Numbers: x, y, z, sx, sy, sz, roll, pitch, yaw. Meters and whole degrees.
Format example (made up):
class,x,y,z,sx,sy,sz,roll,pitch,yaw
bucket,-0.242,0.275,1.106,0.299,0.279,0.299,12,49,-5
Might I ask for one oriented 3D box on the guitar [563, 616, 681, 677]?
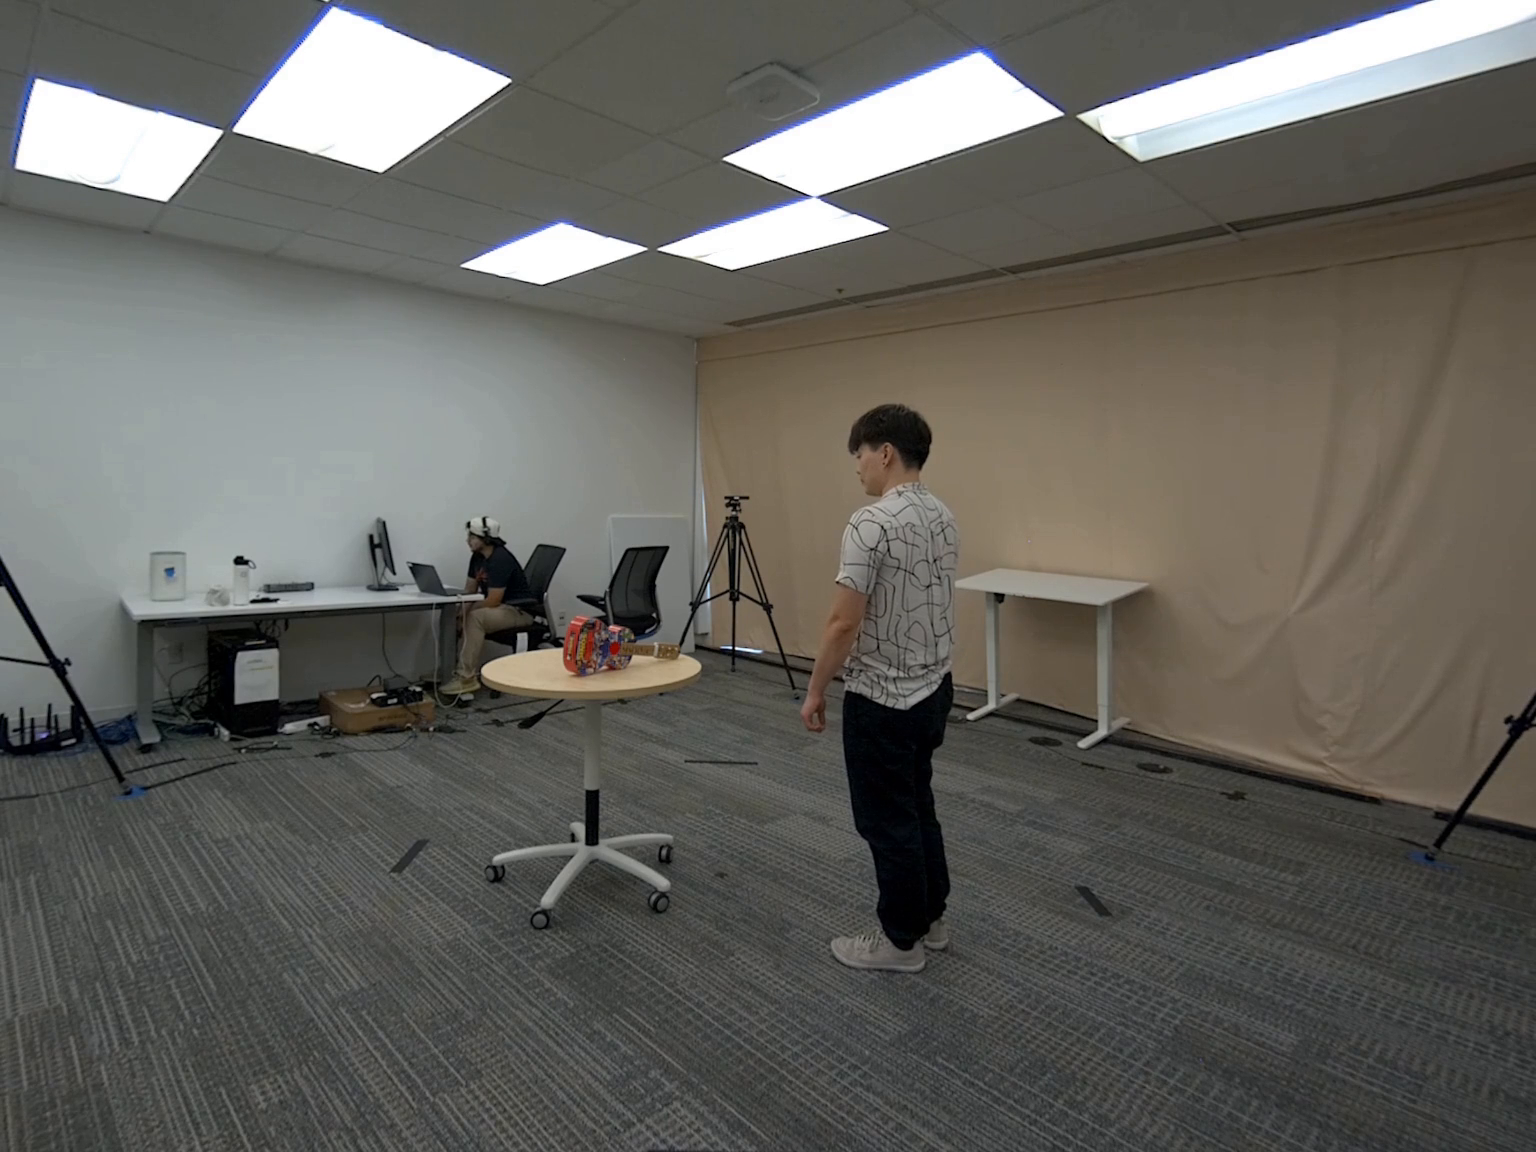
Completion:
class,x,y,z,sx,sy,sz,roll,pitch,yaw
guitar,-0.516,0.284,2.960,0.072,0.194,0.483,4,-13,39
